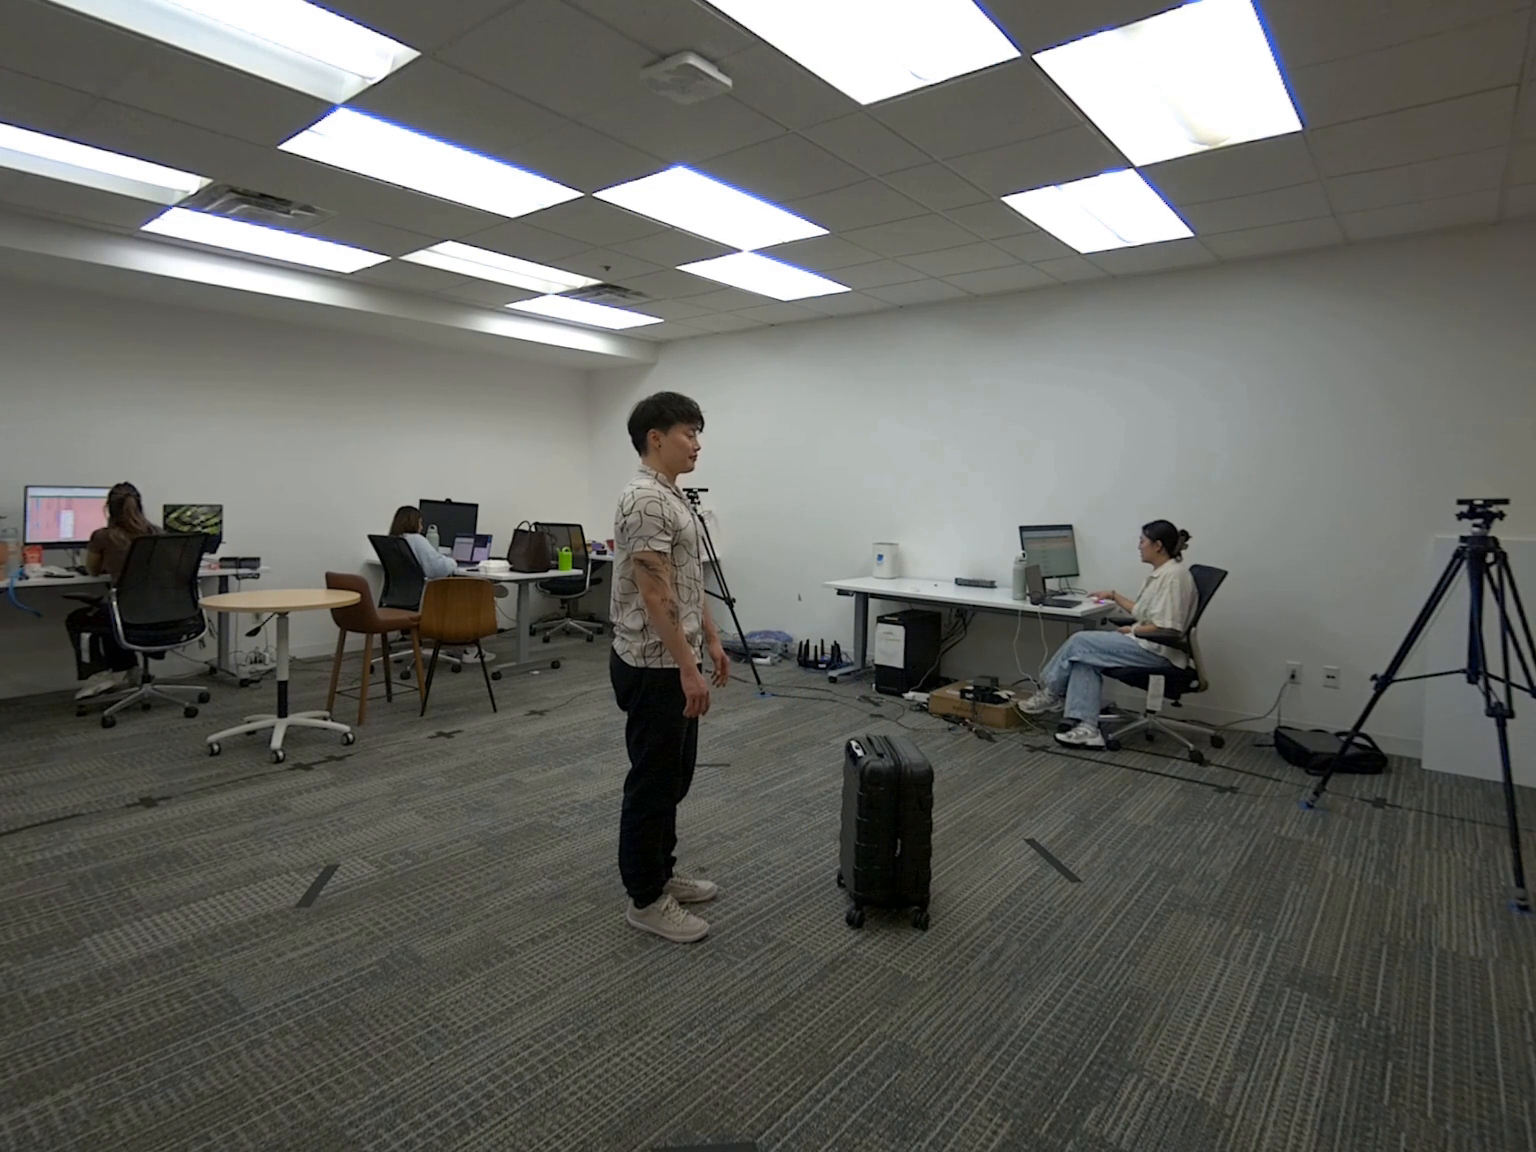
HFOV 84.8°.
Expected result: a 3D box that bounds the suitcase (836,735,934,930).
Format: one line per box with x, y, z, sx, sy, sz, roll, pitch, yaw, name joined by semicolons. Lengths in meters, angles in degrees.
0.385;0.834;2.874;0.248;0.548;0.376;2;2;-2;suitcase
